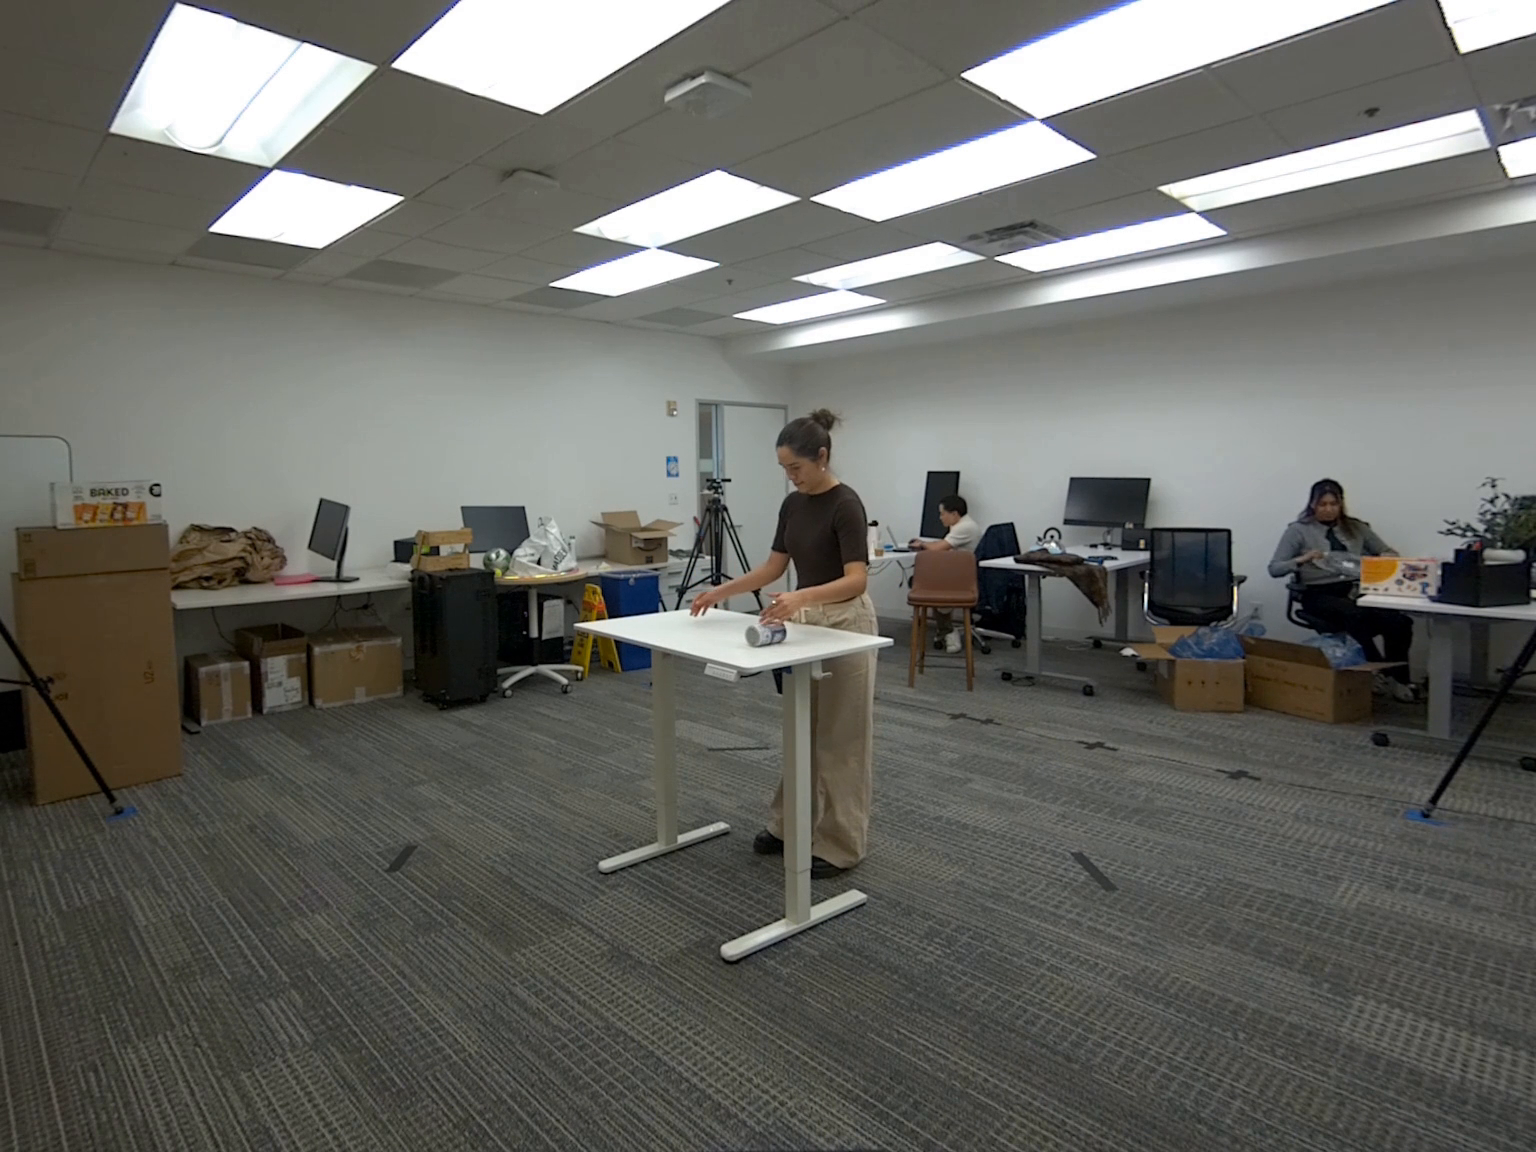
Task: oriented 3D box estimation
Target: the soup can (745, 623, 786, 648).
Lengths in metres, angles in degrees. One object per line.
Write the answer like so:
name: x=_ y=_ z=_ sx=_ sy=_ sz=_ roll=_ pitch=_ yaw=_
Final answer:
soup can: x=0.002 y=0.180 z=2.634 sx=0.118 sy=0.067 sz=0.069 roll=-6 pitch=7 yaw=-43
